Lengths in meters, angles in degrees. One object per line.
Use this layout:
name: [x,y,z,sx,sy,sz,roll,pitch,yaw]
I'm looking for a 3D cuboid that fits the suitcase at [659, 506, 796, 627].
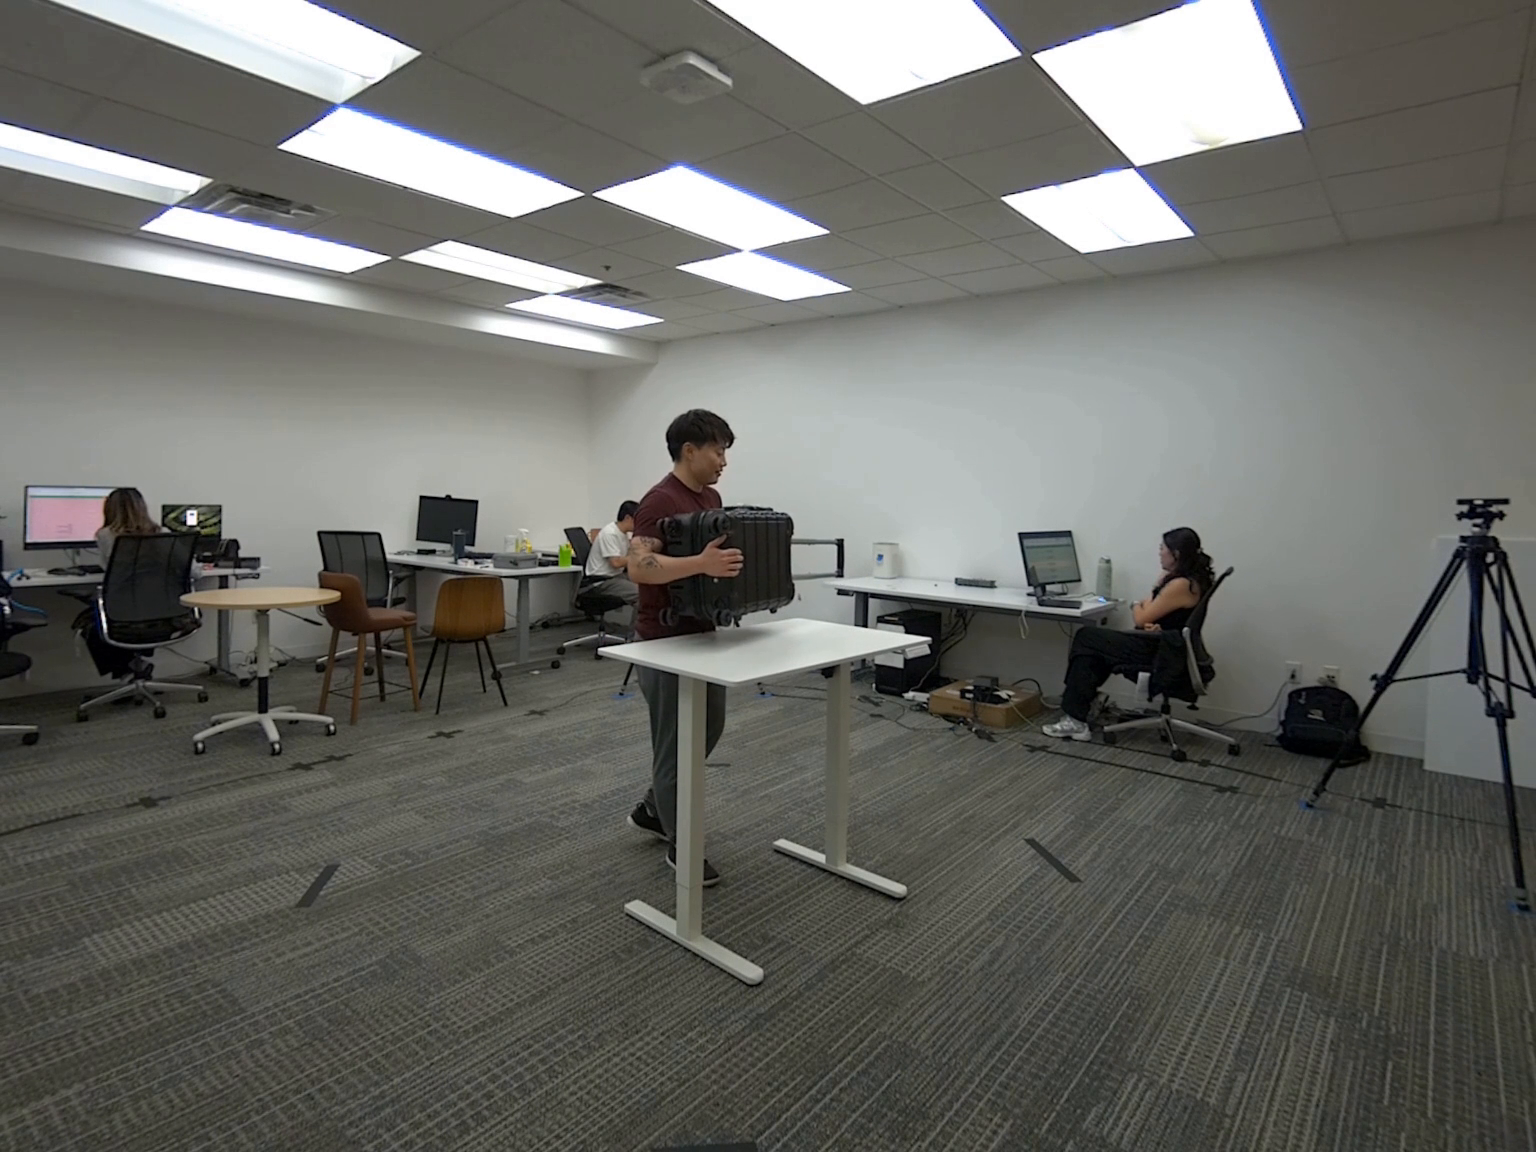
suitcase: [-0.022,-0.060,3.093,0.264,0.383,0.954,-1,3,29]
